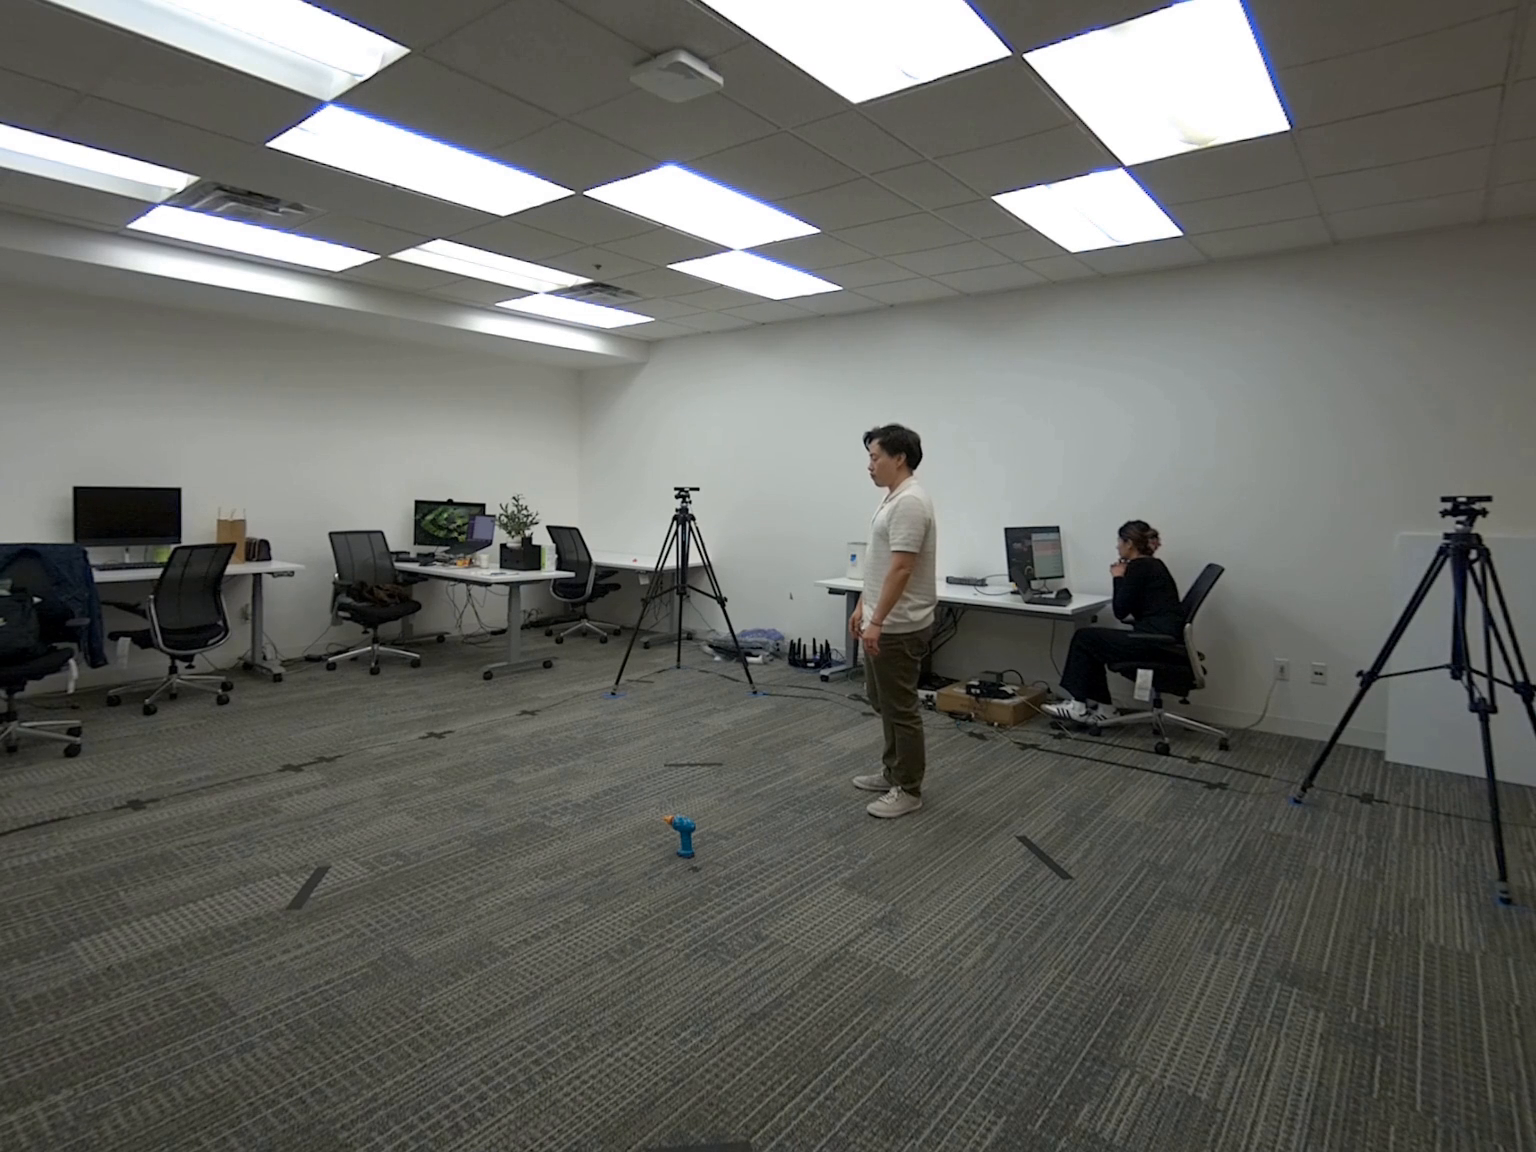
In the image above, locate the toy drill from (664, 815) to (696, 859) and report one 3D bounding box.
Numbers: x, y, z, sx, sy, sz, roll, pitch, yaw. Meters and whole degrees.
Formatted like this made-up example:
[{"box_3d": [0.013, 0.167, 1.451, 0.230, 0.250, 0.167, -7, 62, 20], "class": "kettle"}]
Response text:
[{"box_3d": [-0.350, 0.983, 3.244, 0.175, 0.146, 0.059, 2, 2, 39], "class": "toy drill"}]
